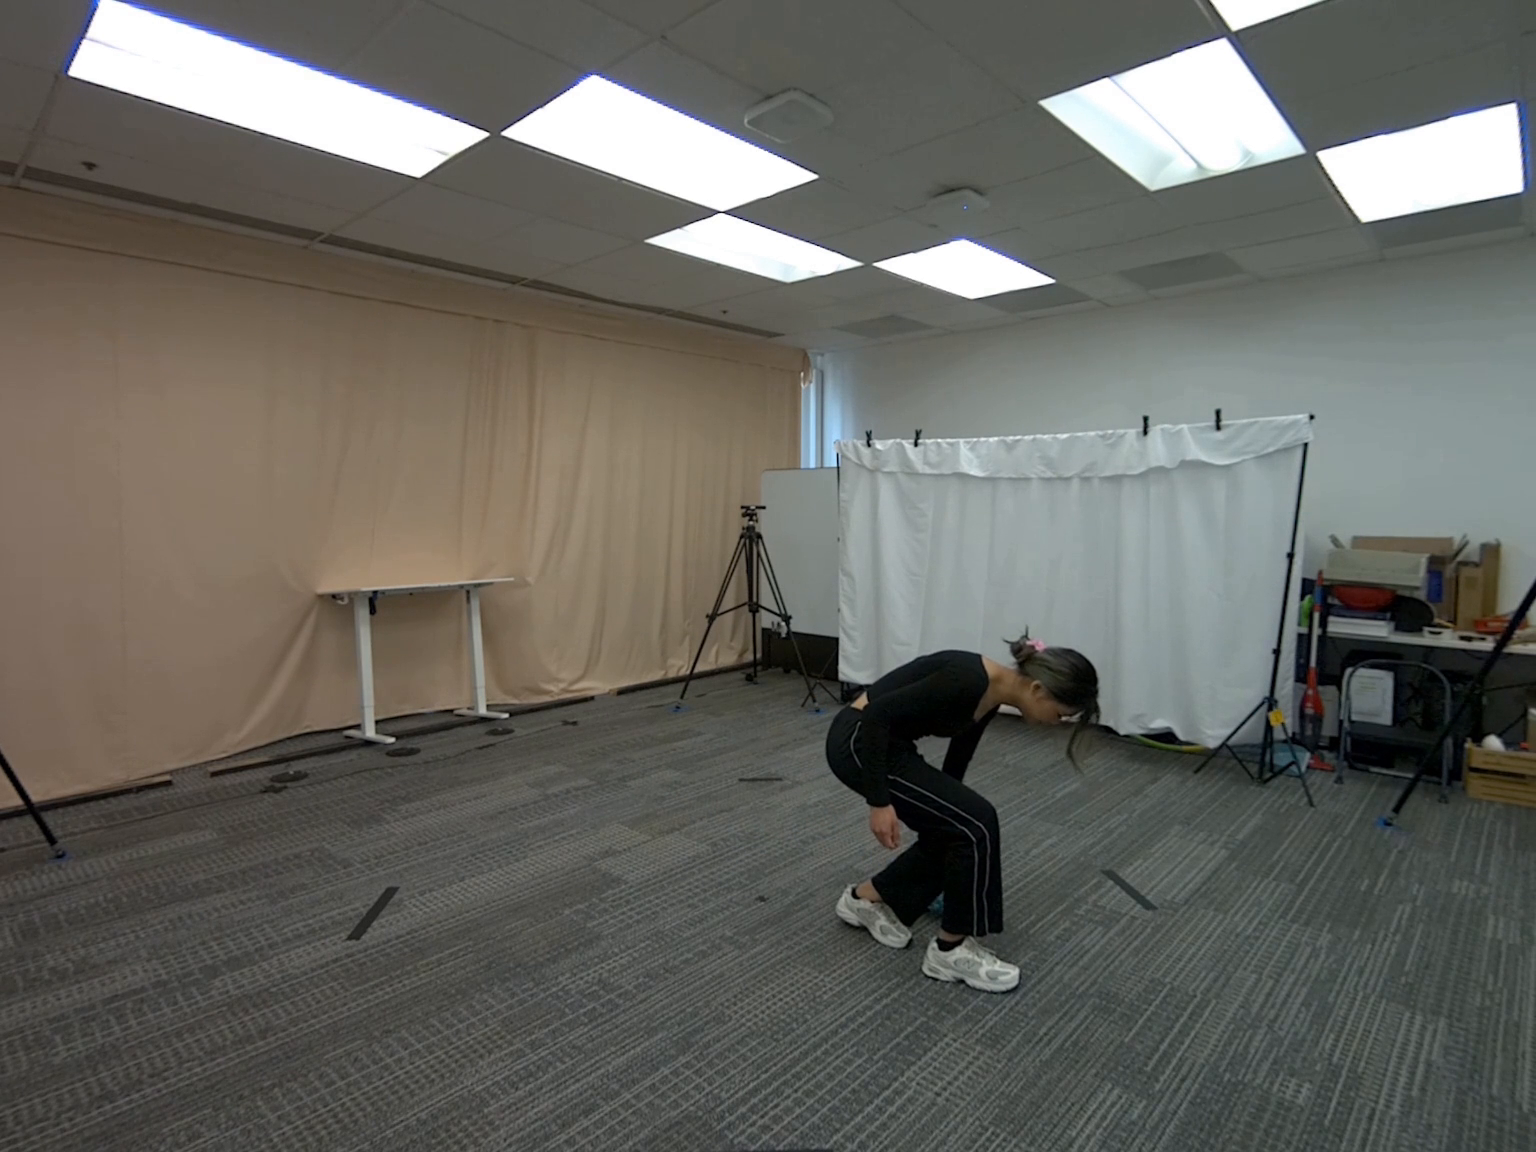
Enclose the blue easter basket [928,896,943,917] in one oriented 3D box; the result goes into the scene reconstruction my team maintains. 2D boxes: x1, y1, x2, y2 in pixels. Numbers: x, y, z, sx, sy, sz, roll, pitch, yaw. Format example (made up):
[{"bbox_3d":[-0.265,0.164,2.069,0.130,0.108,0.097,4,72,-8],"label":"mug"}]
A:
[{"bbox_3d":[0.578,1.043,2.904,0.160,0.244,0.237,-9,-1,29],"label":"blue easter basket"}]
